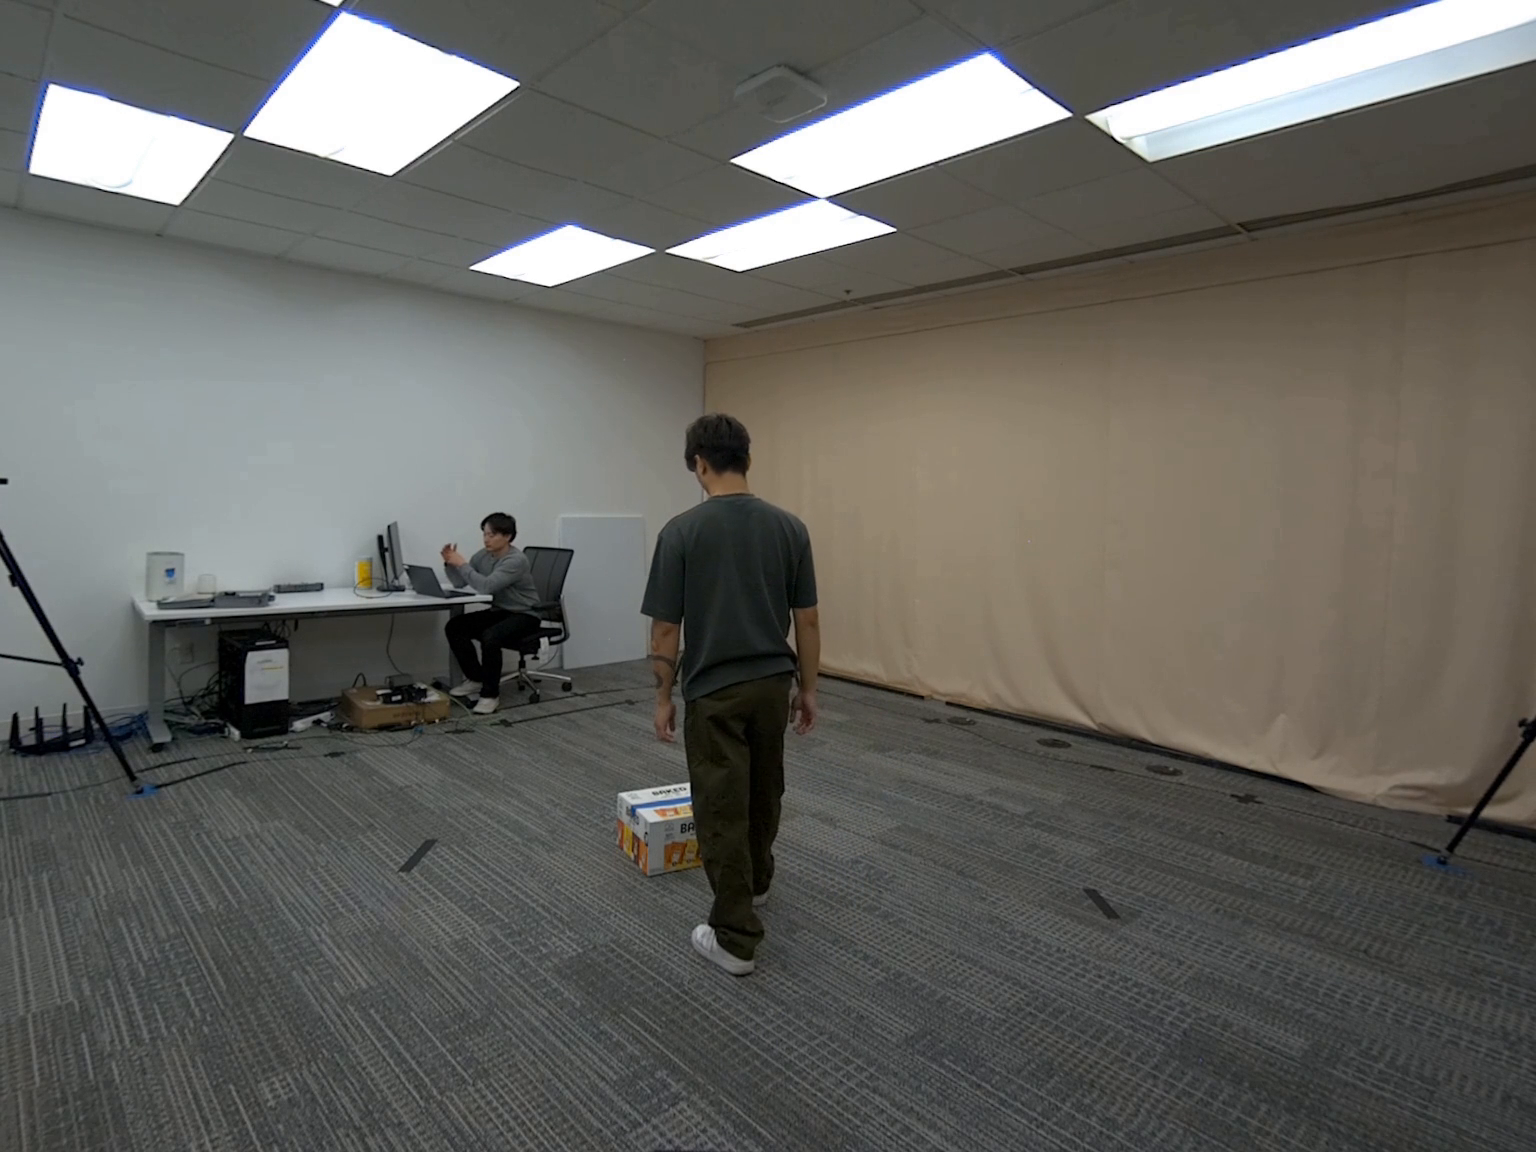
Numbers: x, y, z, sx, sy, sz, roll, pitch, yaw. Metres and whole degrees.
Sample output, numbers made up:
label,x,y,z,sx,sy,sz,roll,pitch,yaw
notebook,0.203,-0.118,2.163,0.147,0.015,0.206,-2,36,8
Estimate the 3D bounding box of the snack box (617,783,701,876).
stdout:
label,x,y,z,sx,sy,sz,roll,pitch,yaw
snack box,-0.350,0.976,3.314,0.397,0.205,0.348,-1,5,-29
